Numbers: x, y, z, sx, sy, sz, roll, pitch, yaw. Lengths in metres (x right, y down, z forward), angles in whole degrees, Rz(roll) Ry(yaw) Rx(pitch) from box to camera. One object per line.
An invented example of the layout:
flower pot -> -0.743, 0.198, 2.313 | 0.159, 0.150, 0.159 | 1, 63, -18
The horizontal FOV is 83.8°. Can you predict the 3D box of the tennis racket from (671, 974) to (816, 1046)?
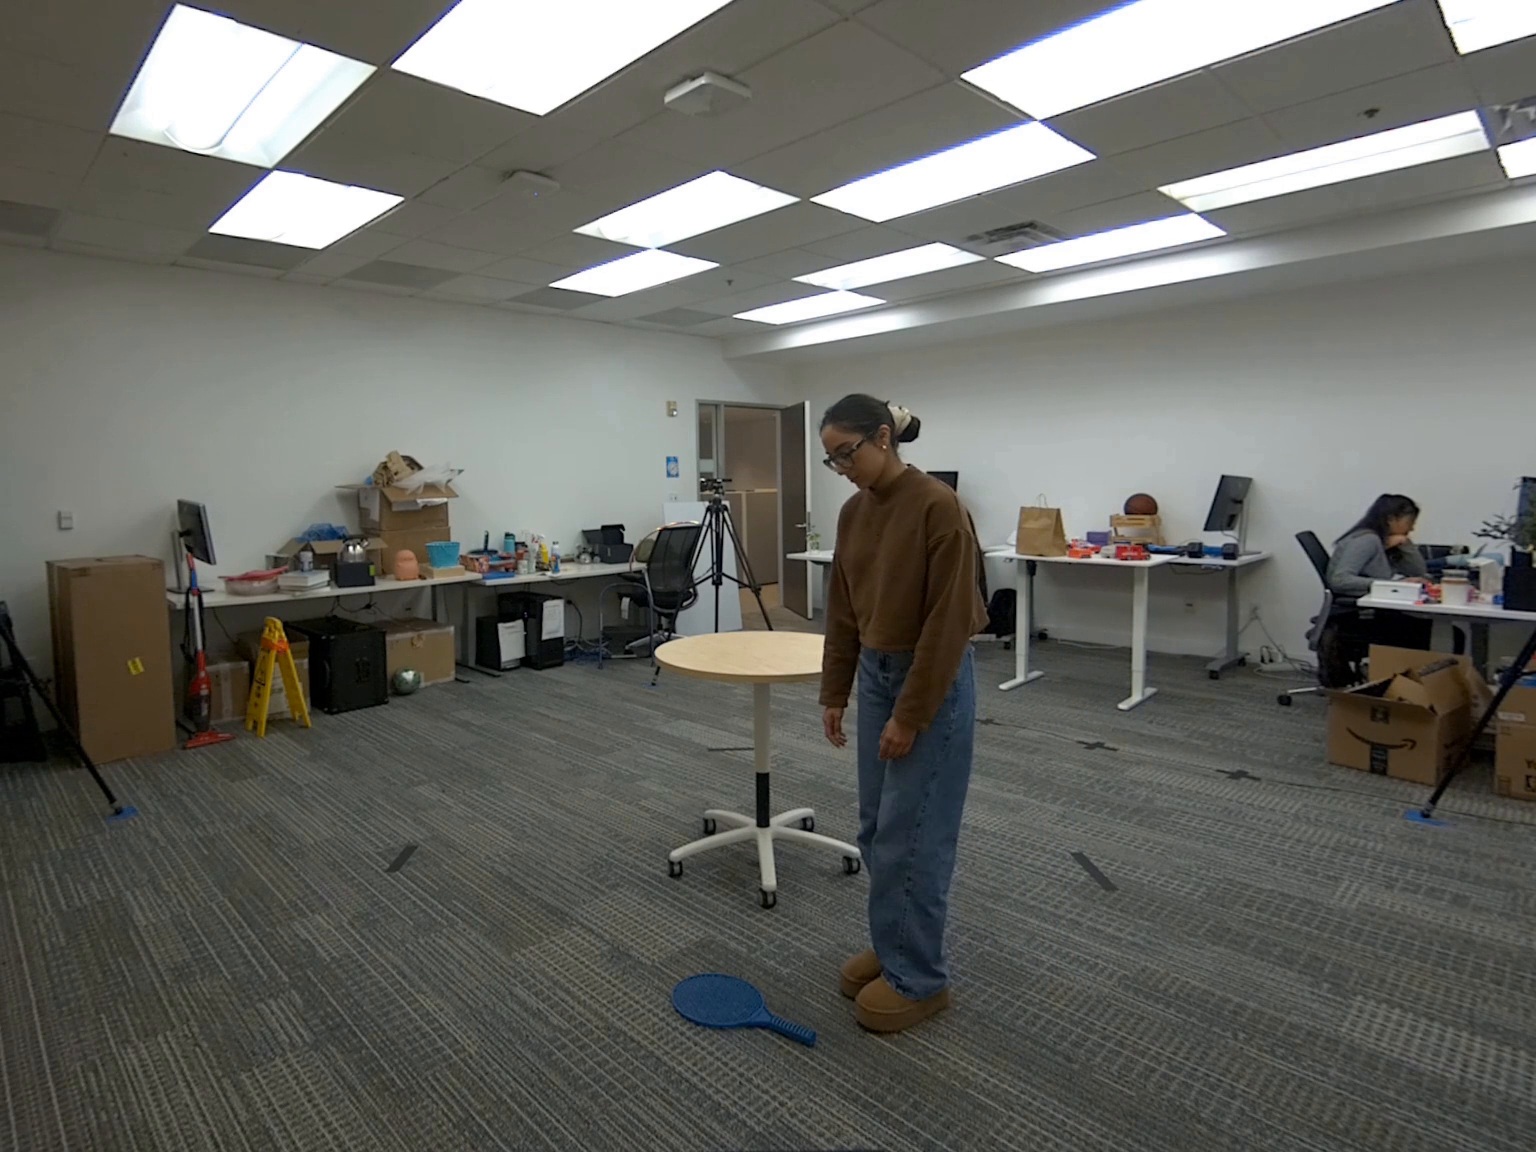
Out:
tennis racket -> -0.061, 1.130, 2.240 | 0.445, 0.031, 0.208 | 2, 7, 37
